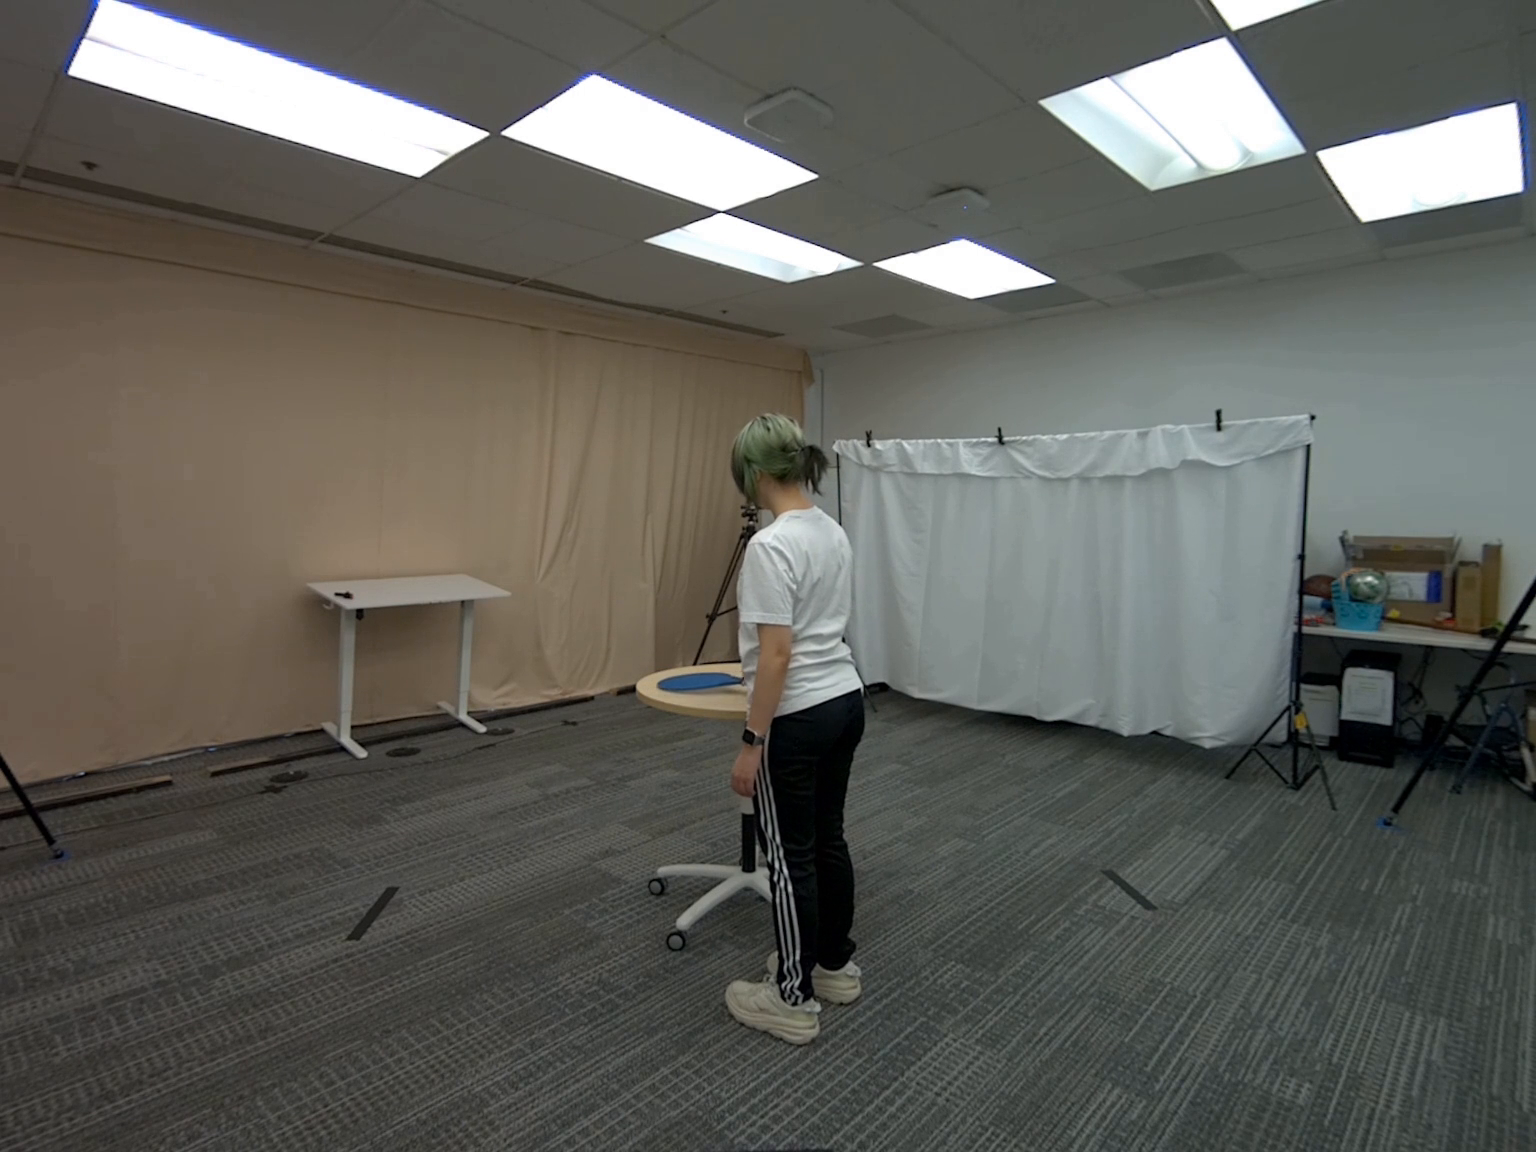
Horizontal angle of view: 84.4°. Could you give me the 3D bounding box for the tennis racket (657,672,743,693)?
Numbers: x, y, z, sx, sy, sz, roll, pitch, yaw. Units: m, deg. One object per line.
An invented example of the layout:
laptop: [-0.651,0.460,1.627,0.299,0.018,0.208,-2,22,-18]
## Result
tennis racket: [-0.173,0.358,2.764,0.444,0.031,0.209,-2,6,26]
